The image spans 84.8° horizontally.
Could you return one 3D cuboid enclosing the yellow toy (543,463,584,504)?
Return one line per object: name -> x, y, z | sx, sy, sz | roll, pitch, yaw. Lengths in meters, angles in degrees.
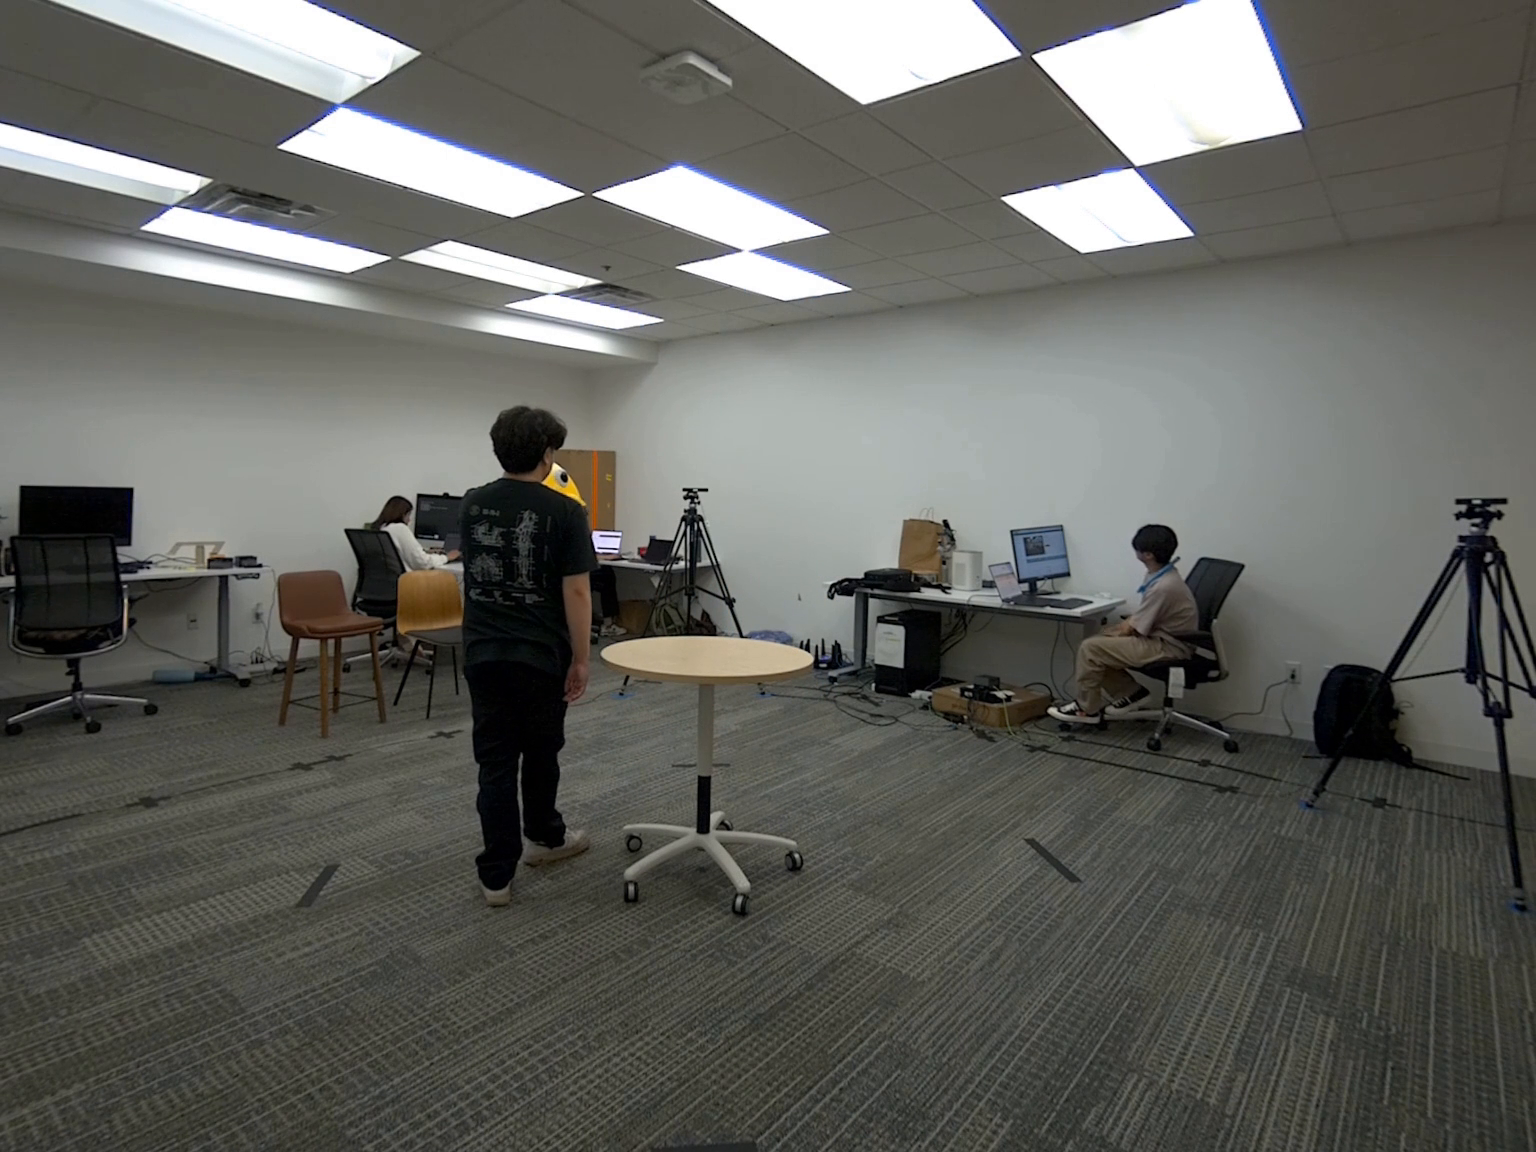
yellow toy -> -0.902, -0.402, 3.576 | 0.189, 0.229, 0.211 | -12, 8, -31
